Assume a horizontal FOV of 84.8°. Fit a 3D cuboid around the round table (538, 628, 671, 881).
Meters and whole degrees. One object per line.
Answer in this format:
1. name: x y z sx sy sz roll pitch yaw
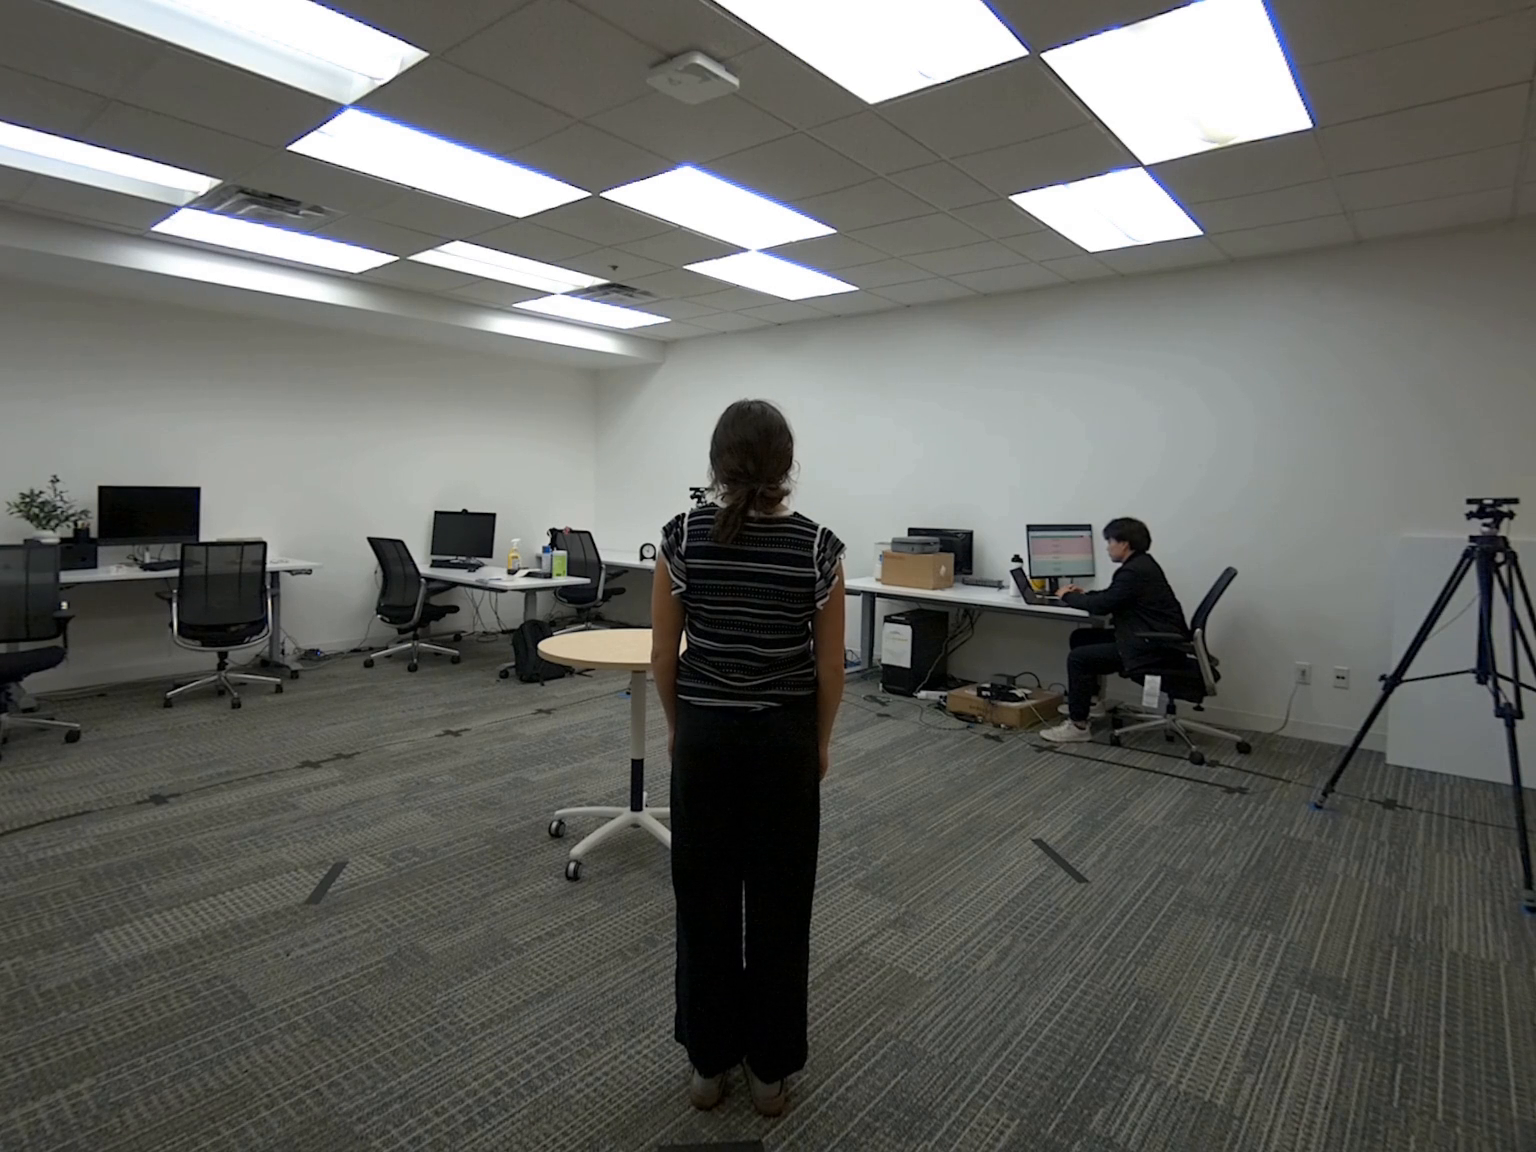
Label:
1. round table: -0.501 0.650 3.273 0.784 0.784 0.789 0 4 -2
